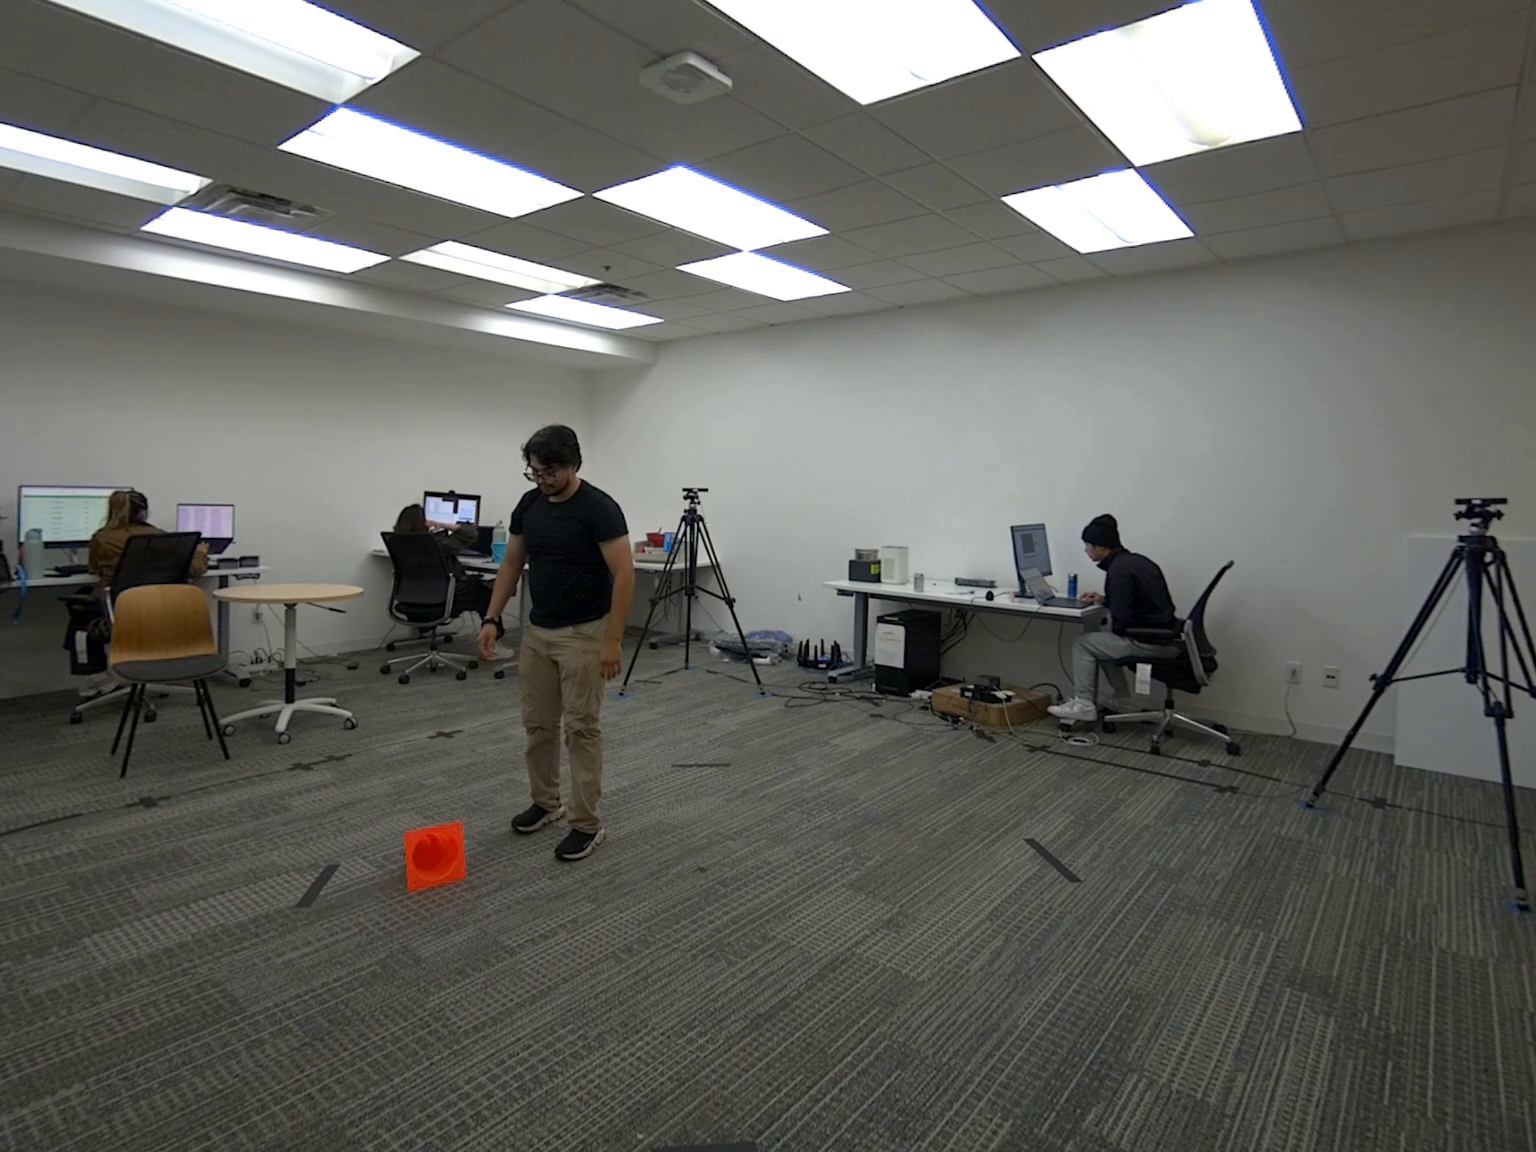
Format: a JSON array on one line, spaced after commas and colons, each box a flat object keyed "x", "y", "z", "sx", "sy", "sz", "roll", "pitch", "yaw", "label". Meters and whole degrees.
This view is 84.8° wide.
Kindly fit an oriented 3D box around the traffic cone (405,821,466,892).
[{"x": -1.282, "y": 1.008, "z": 3.119, "sx": 0.199, "sy": 0.205, "sz": 0.391, "roll": -2, "pitch": -9, "yaw": -33, "label": "traffic cone"}]
